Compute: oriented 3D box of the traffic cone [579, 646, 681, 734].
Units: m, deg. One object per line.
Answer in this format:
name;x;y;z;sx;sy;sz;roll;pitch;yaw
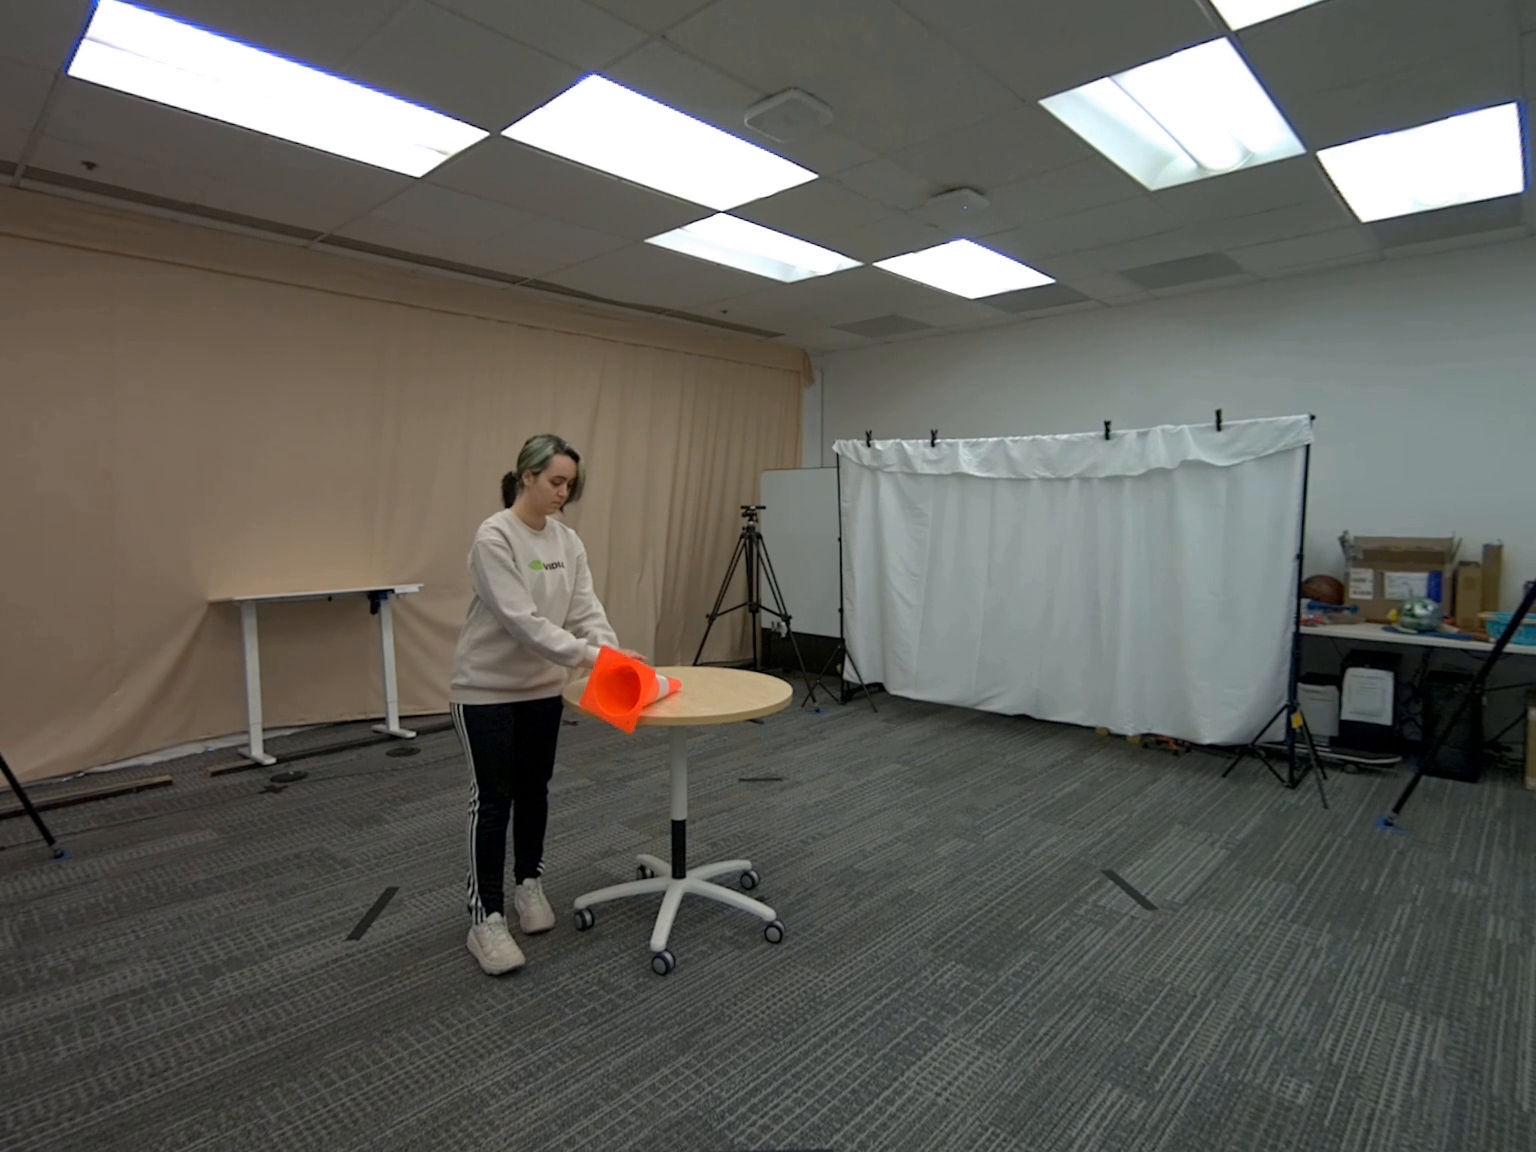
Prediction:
traffic cone;-0.371;0.348;2.609;0.211;0.203;0.373;25;4;24
